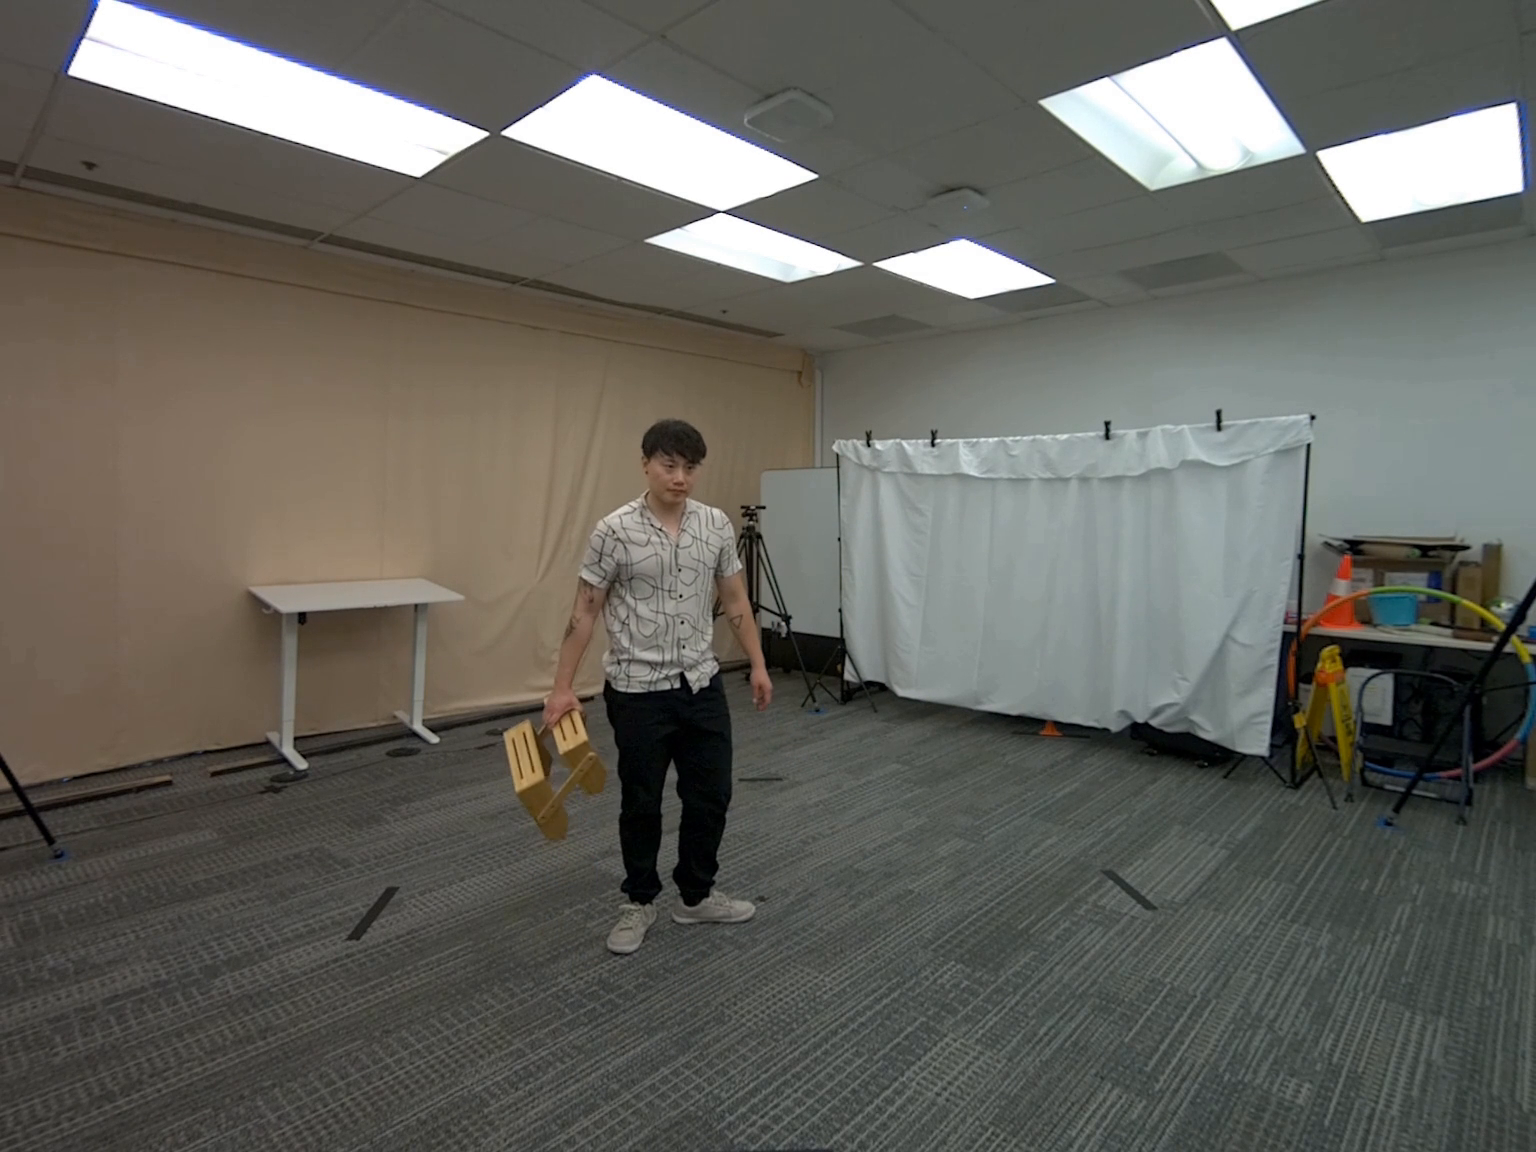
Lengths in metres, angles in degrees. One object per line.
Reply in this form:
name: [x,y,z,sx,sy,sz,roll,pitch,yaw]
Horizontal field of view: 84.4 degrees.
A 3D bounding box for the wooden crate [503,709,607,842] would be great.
wooden crate: [-0.647,0.589,2.675,0.272,0.294,0.335,-28,34,-9]
